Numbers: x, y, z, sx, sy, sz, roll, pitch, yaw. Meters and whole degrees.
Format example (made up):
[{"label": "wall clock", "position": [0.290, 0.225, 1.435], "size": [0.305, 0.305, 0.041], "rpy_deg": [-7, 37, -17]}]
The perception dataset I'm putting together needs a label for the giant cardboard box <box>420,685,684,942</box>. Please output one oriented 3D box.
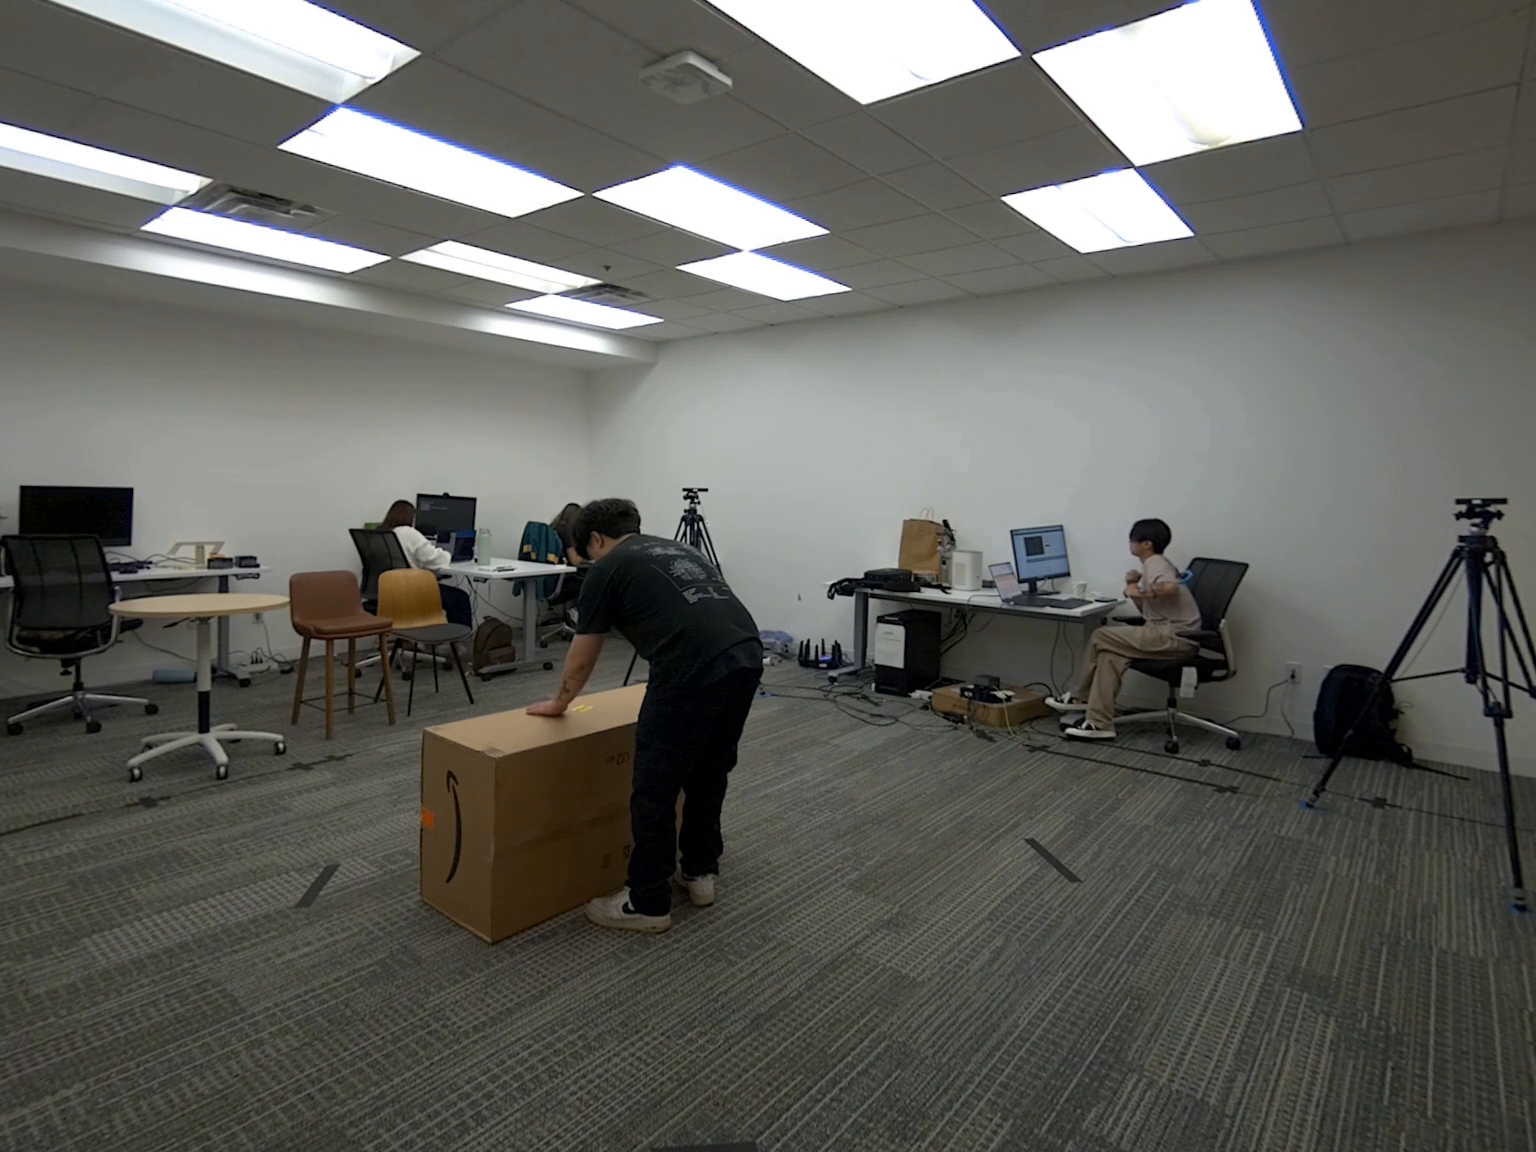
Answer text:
[{"label": "giant cardboard box", "position": [-0.690, 0.781, 3.072], "size": [0.461, 0.582, 0.996], "rpy_deg": [3, 4, 39]}]
